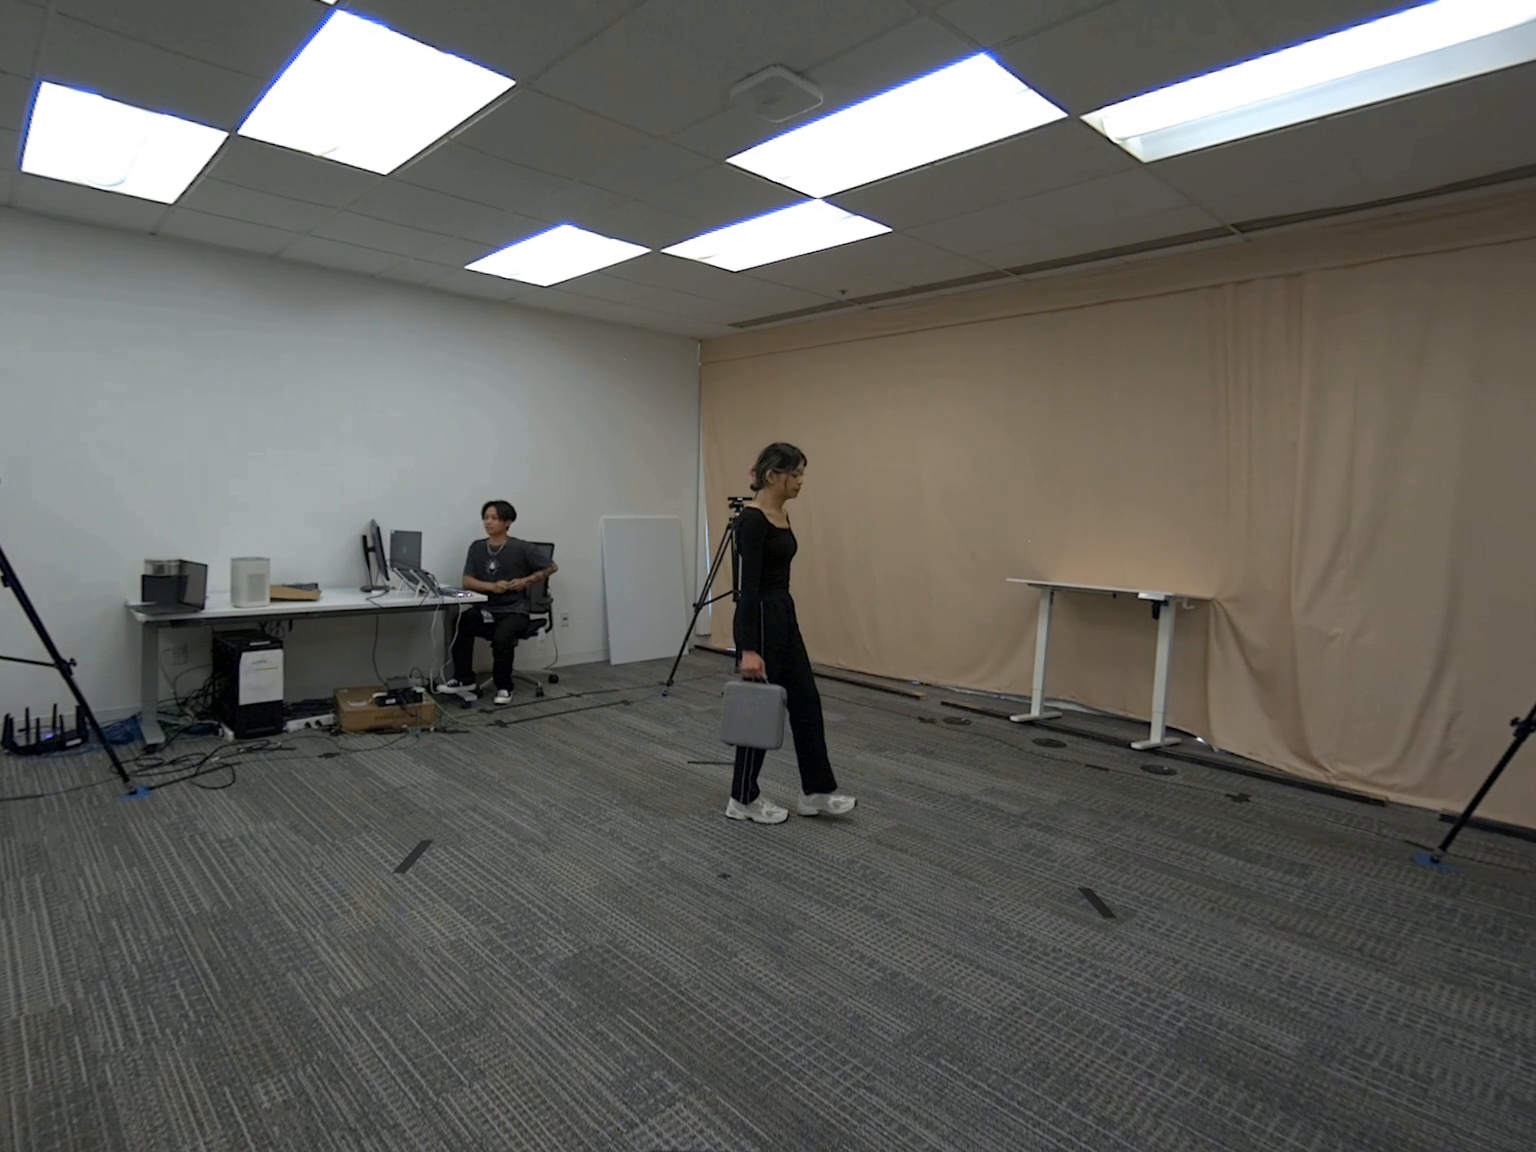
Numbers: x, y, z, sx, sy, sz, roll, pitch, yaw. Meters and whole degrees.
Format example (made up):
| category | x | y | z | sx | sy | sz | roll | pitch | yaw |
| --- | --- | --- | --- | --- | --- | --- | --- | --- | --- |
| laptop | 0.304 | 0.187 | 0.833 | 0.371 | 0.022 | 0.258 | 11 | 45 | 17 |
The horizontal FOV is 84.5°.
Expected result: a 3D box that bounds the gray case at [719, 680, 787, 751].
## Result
| category | x | y | z | sx | sy | sz | roll | pitch | yaw |
| --- | --- | --- | --- | --- | --- | --- | --- | --- | --- |
| gray case | -0.066 | 0.559 | 3.406 | 0.260 | 0.261 | 0.102 | 2 | -5 | 16 |
